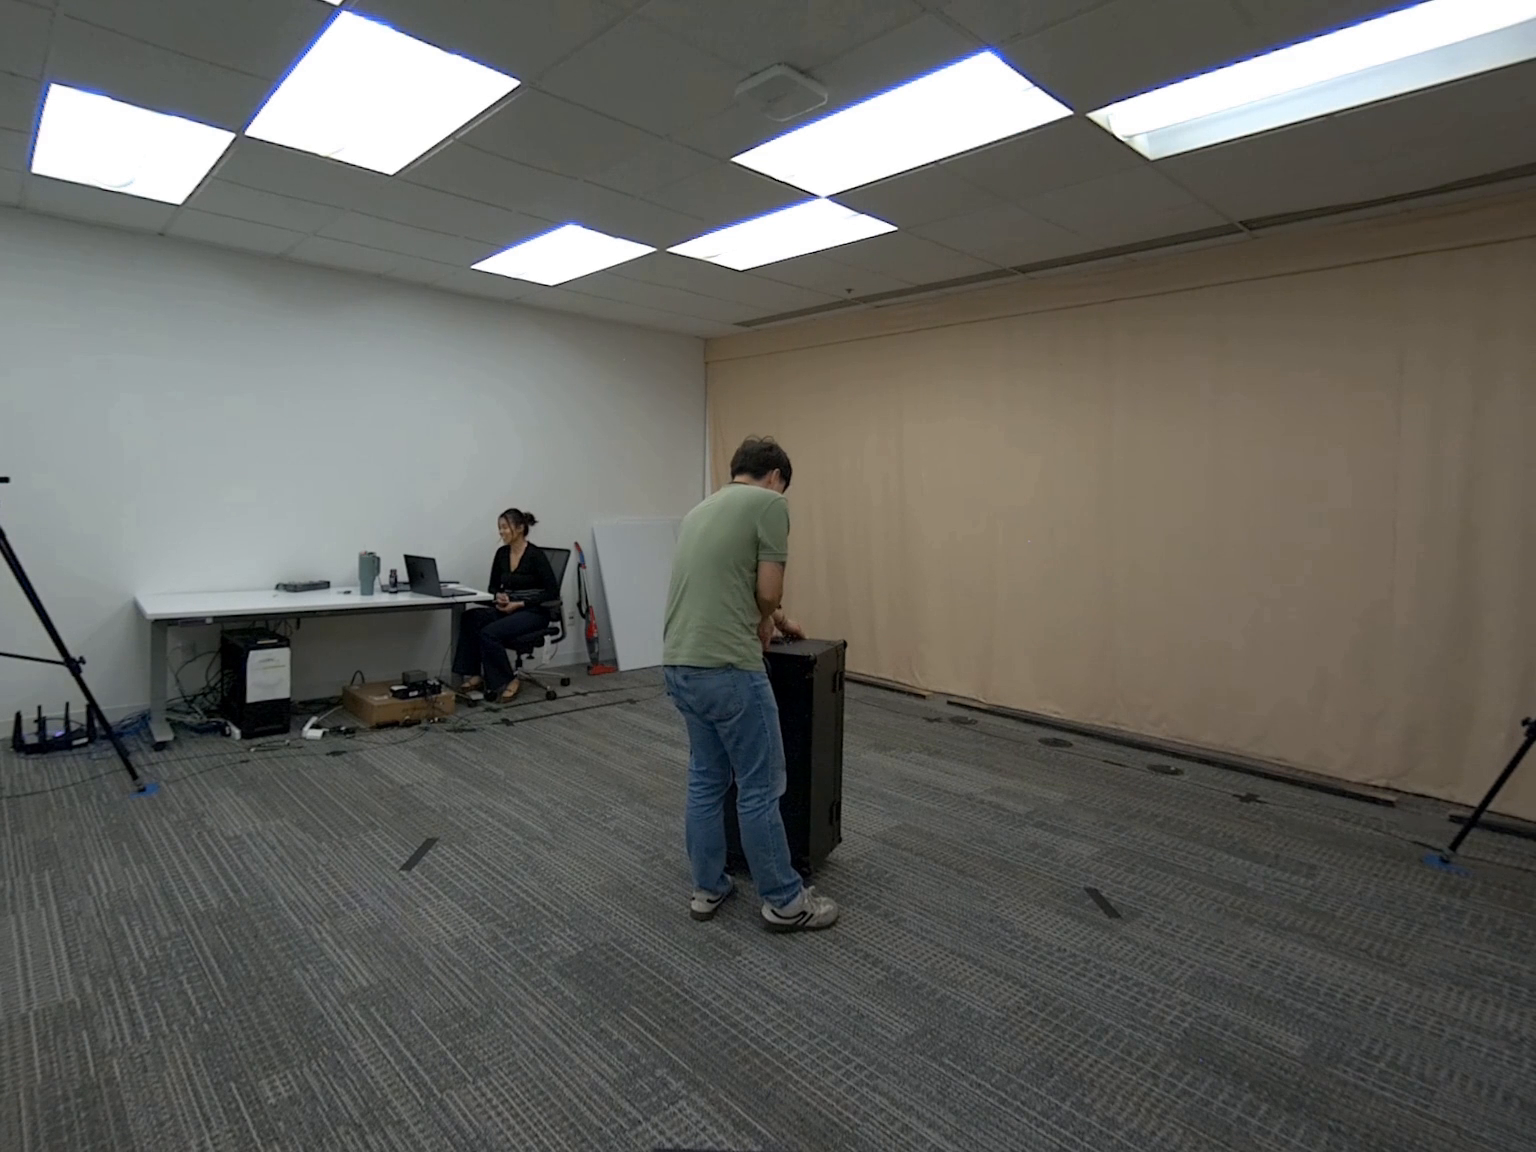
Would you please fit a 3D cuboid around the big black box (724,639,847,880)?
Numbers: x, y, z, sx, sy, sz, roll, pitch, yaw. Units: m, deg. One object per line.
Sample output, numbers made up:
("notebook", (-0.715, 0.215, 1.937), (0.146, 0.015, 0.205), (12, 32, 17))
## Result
("big black box", (-0.002, 0.673, 3.169), (0.531, 0.859, 0.390), (3, 4, 25))
